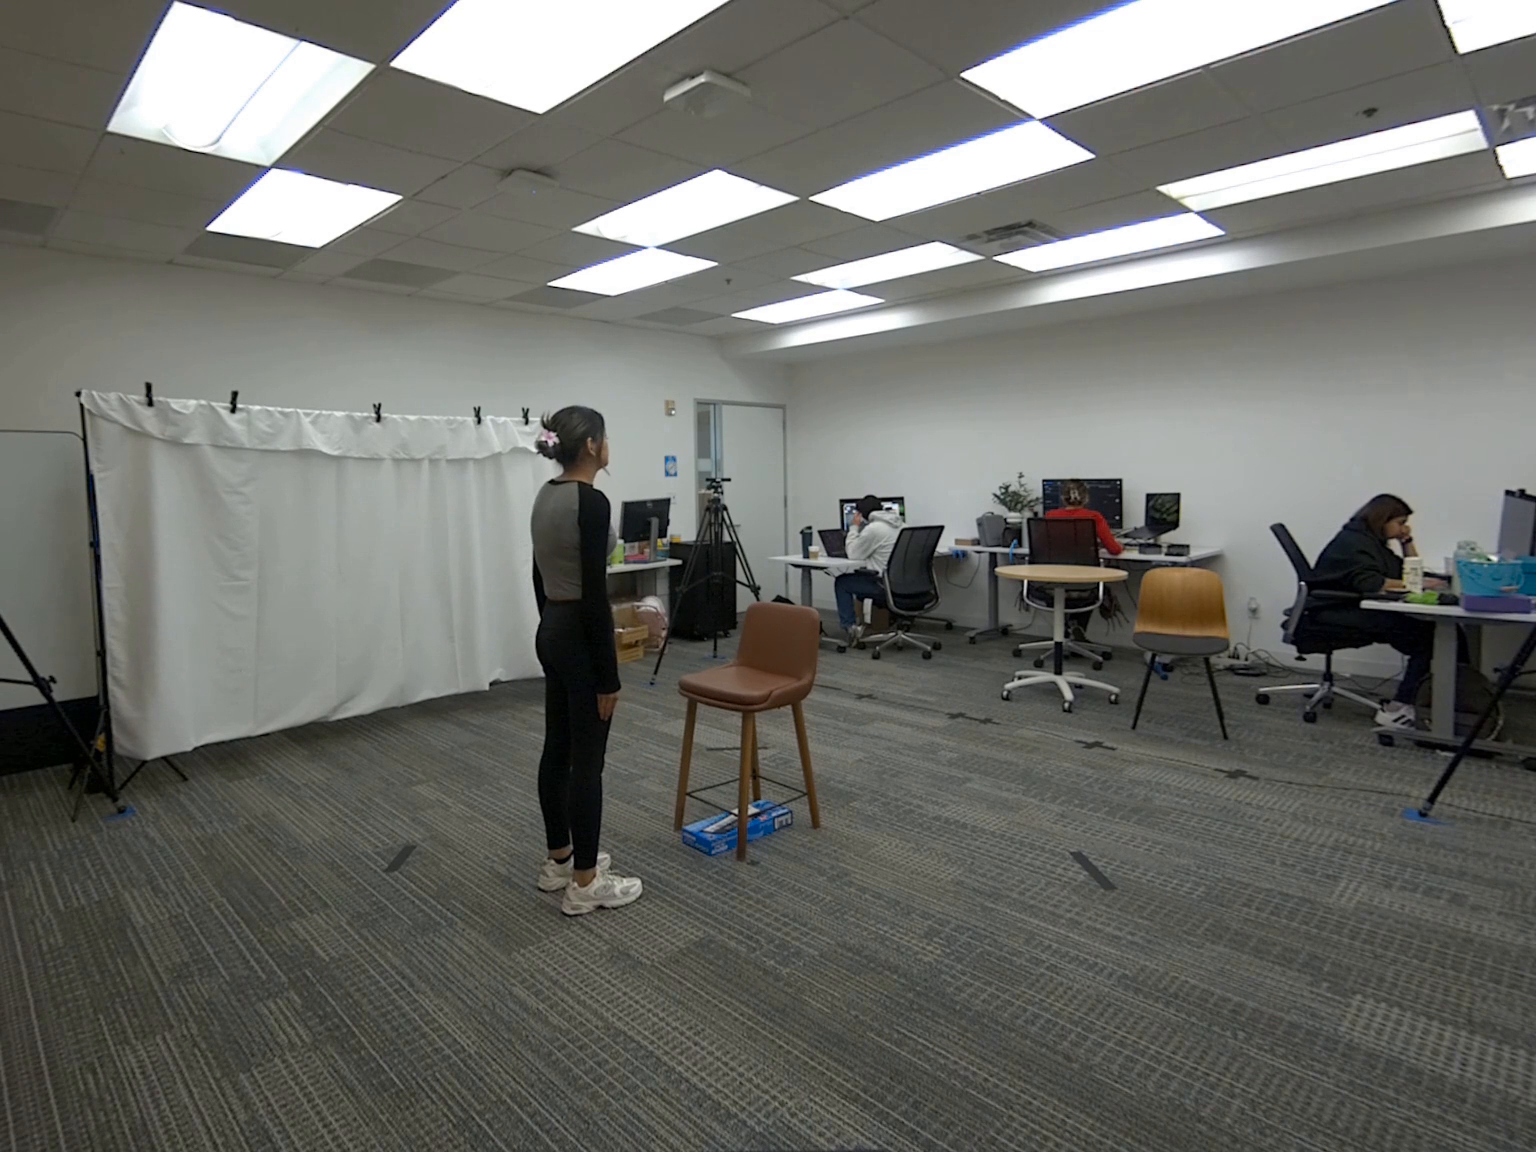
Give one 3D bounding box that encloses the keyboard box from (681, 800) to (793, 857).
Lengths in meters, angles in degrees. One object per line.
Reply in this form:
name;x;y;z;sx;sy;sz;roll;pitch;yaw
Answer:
keyboard box;-0.117;0.985;3.367;0.425;0.059;0.181;-6;8;-42
